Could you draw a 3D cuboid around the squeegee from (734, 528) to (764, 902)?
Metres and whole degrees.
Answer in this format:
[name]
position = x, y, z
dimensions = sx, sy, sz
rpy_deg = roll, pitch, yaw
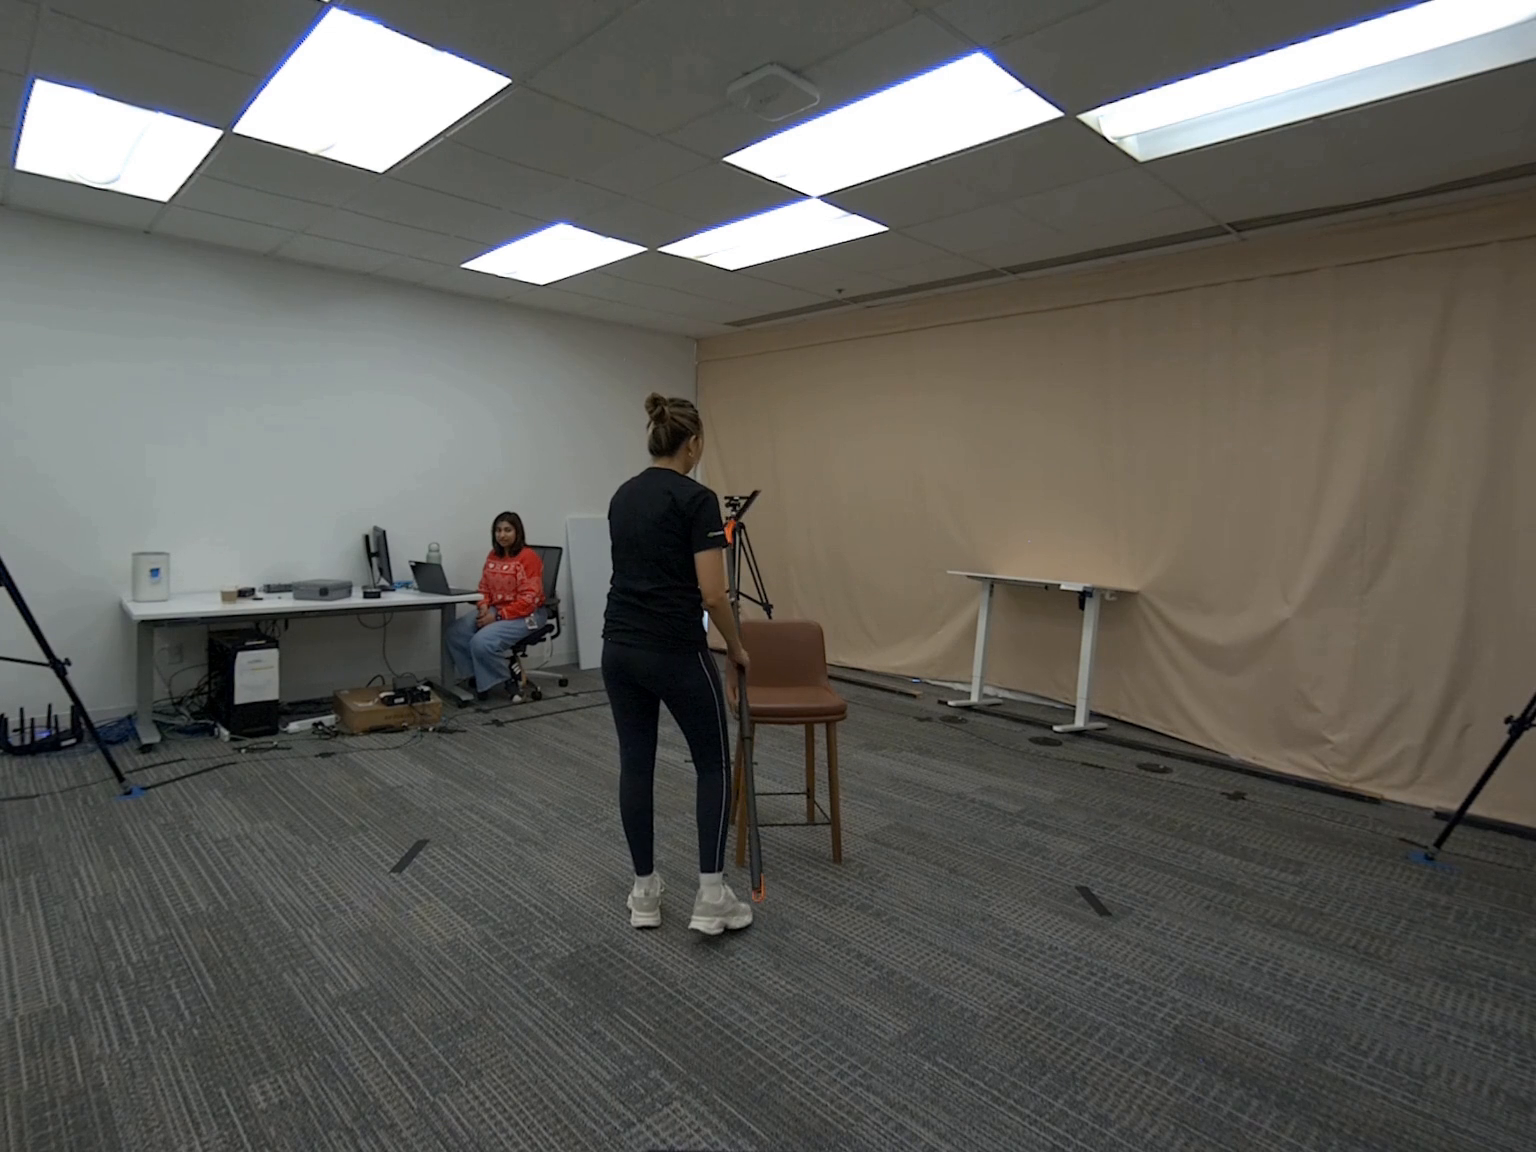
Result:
[squeegee]
position = -0.086, 0.338, 2.809
dimensions = 0.052, 0.435, 1.575
rpy_deg = 17, 39, -21
